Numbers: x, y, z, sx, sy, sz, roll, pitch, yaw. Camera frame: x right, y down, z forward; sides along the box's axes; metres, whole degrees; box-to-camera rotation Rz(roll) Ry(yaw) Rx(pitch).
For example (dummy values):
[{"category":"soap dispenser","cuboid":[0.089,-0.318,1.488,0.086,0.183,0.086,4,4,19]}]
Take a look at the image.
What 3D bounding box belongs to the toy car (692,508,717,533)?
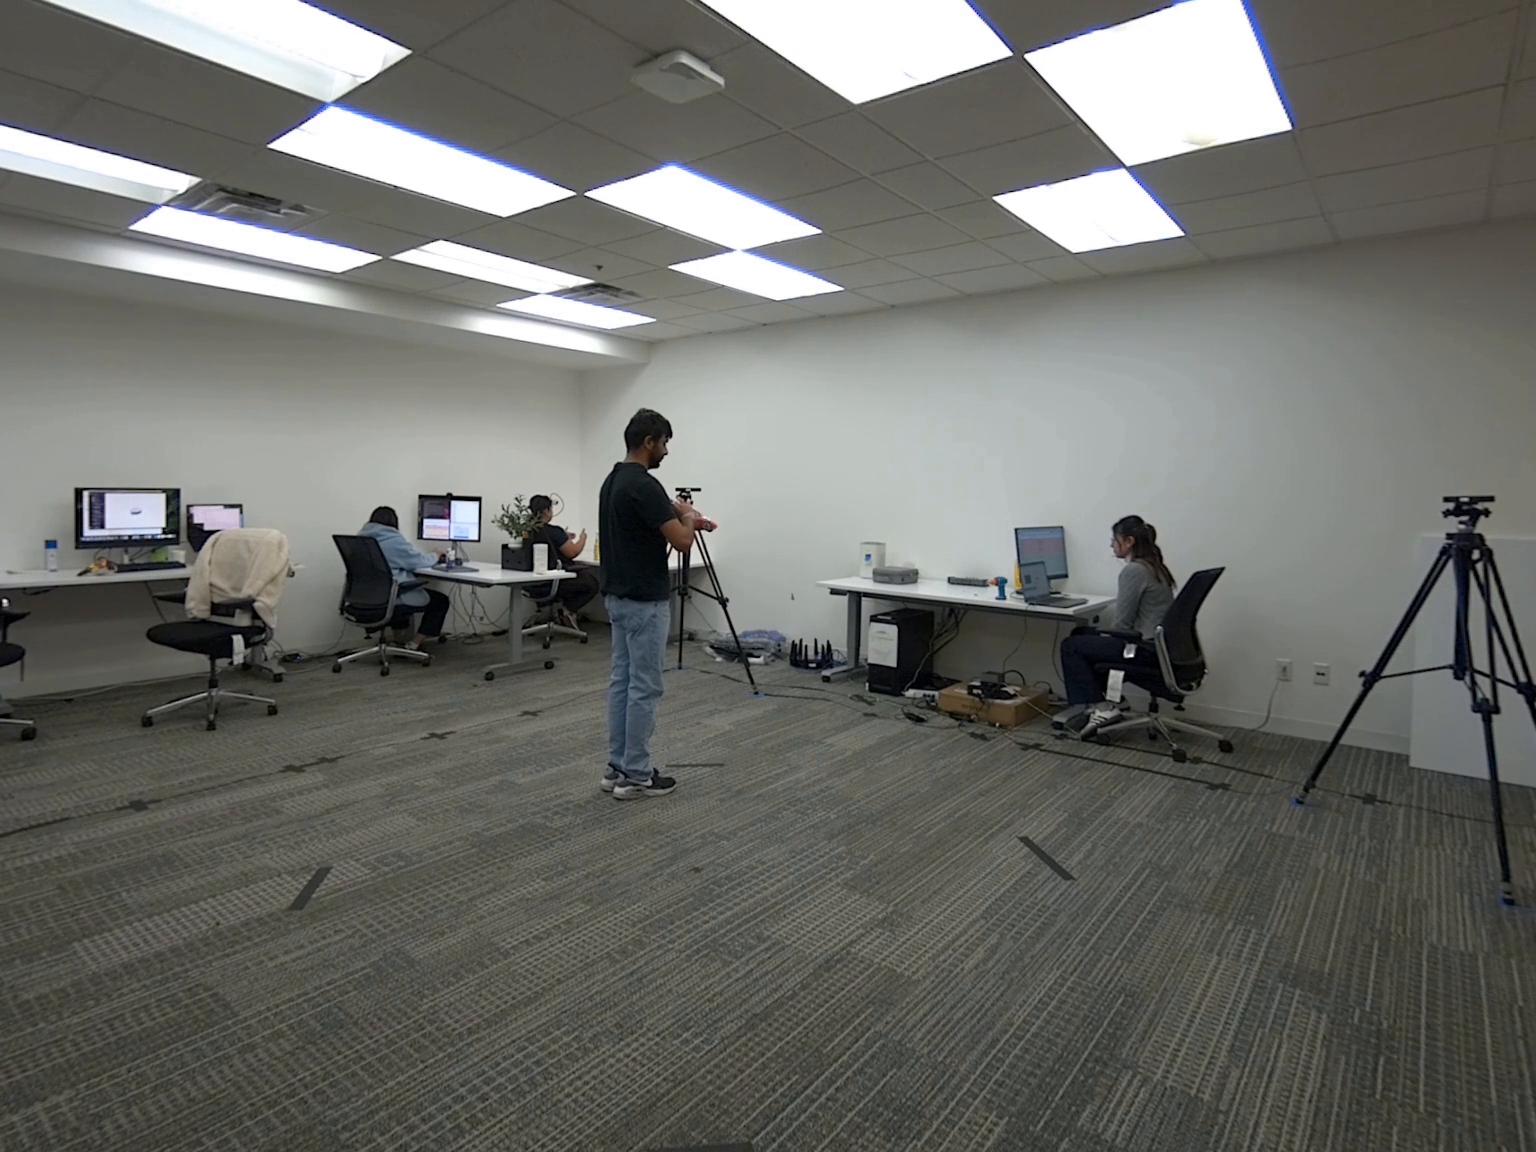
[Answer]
[{"category":"toy car","cuboid":[-0.374,-0.280,4.020,0.258,0.083,0.129,32,2,8]}]
